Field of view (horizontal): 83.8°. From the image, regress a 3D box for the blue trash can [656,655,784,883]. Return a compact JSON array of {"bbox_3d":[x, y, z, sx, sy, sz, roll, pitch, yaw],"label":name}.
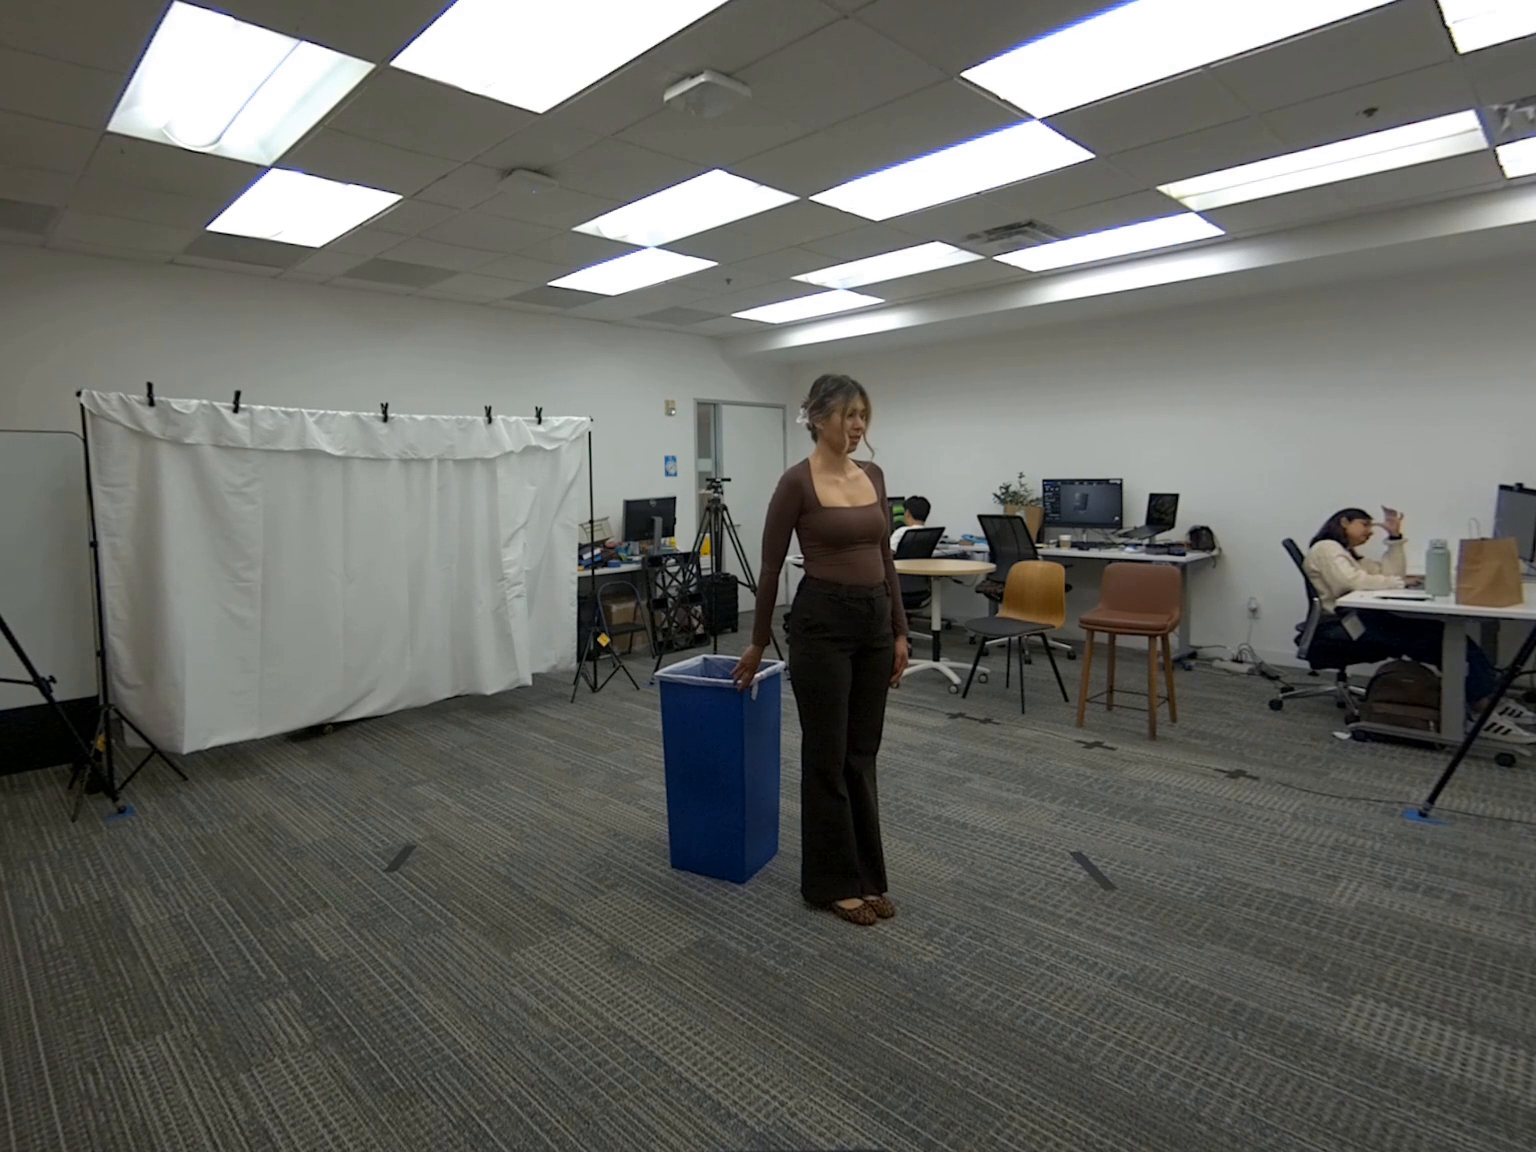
[{"bbox_3d":[-0.157,0.683,3.115,0.387,0.712,0.366,1,3,26],"label":"blue trash can"}]
